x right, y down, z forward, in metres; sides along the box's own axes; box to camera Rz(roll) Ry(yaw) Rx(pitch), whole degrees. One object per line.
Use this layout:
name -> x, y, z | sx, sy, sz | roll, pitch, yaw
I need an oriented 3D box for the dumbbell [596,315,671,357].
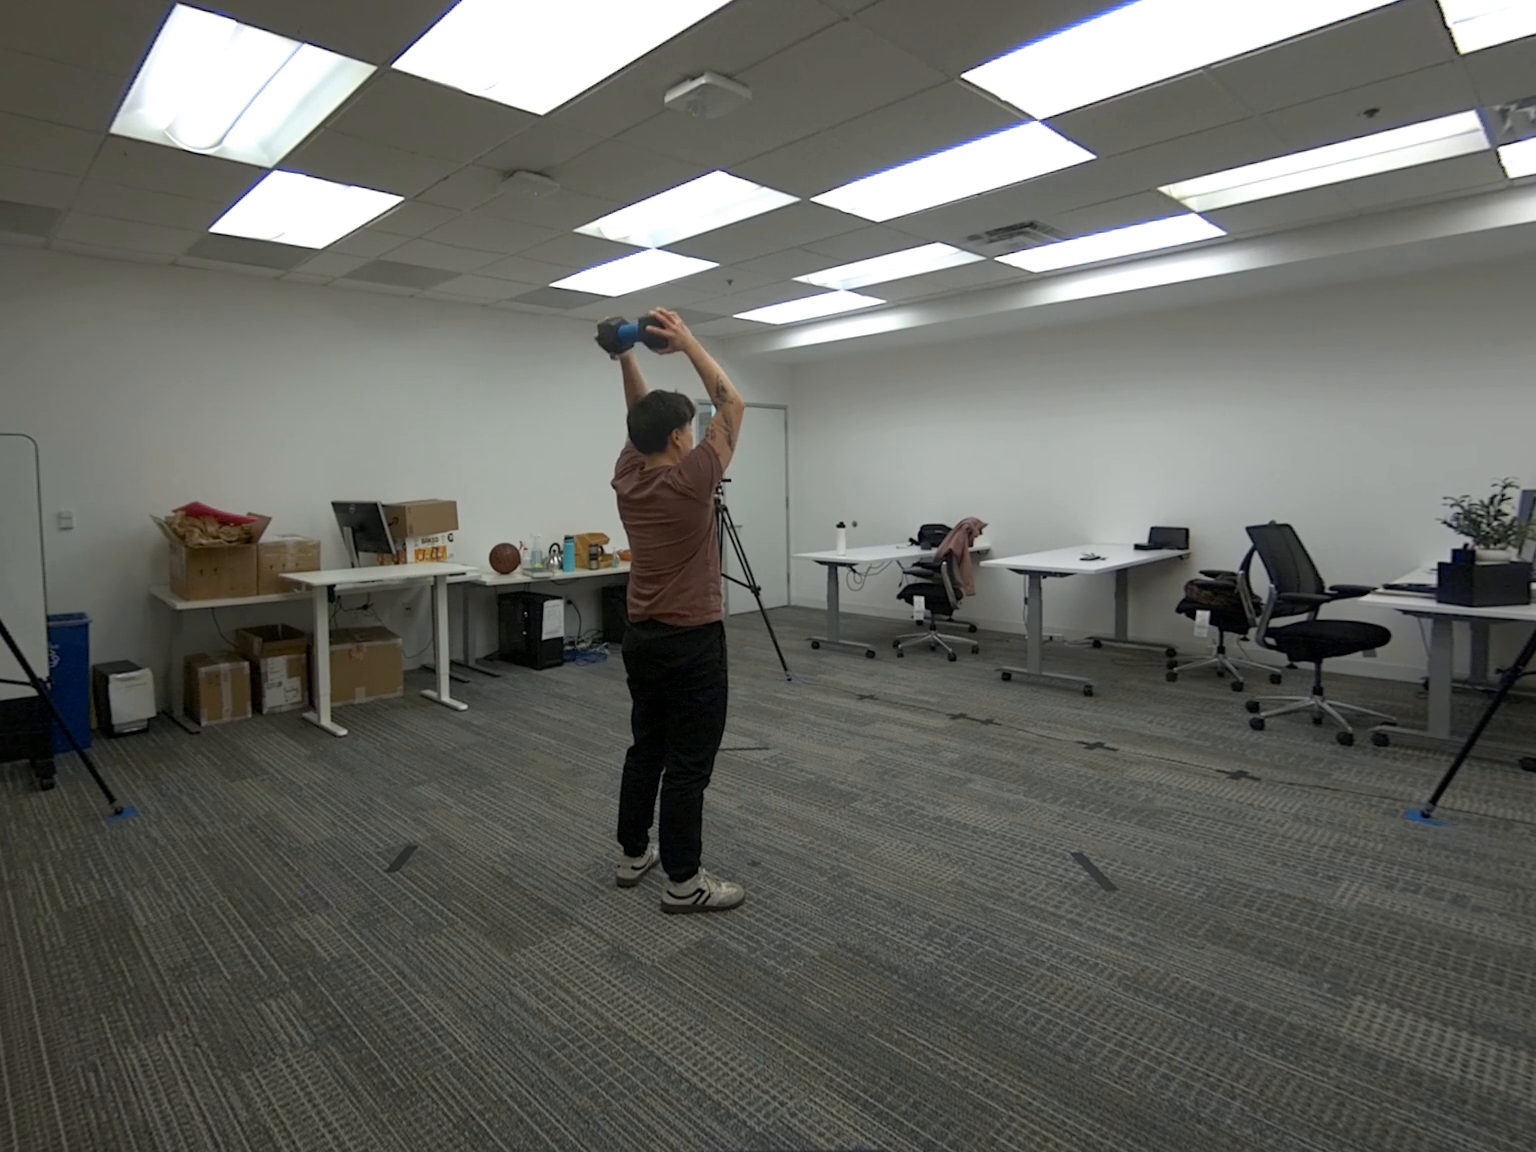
dumbbell -> -0.417, -0.770, 2.739 | 0.303, 0.109, 0.118 | 9, -21, 43
